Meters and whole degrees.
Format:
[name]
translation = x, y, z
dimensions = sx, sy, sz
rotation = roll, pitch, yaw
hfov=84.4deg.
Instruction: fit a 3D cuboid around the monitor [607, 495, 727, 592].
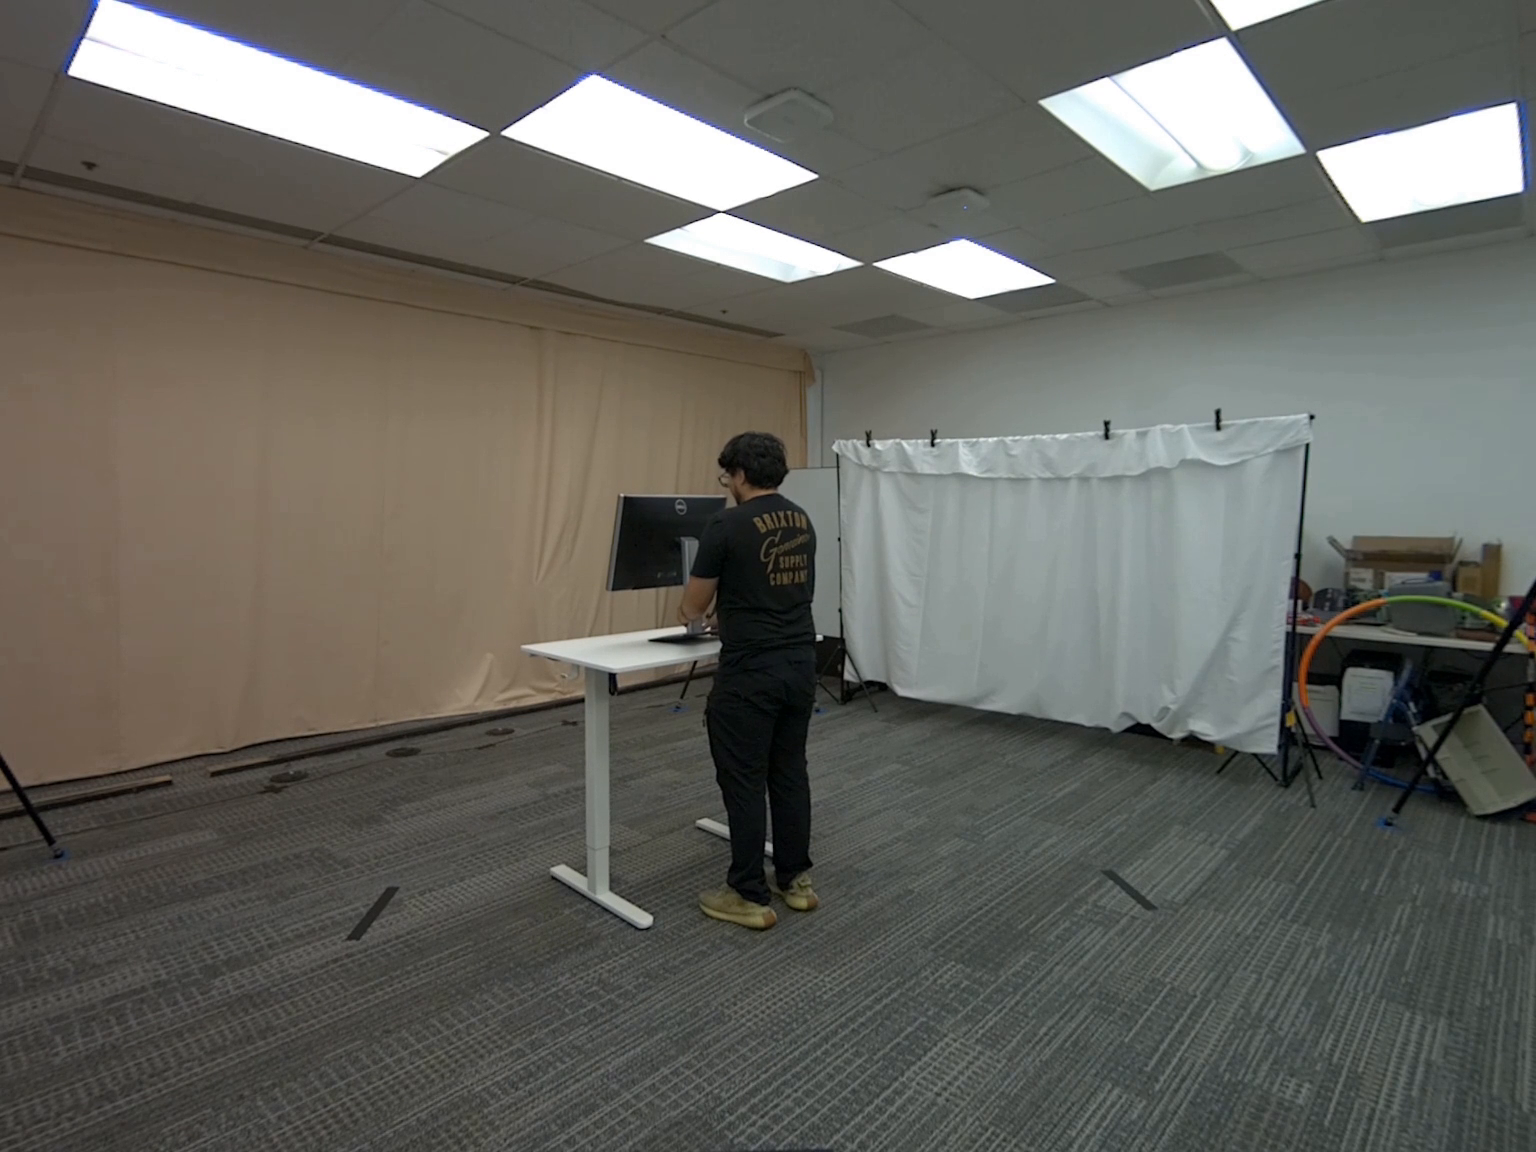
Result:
[monitor]
translation = -0.321, -0.035, 3.204
dimensions = 0.217, 0.552, 0.548
rotation = 6, 7, 40
